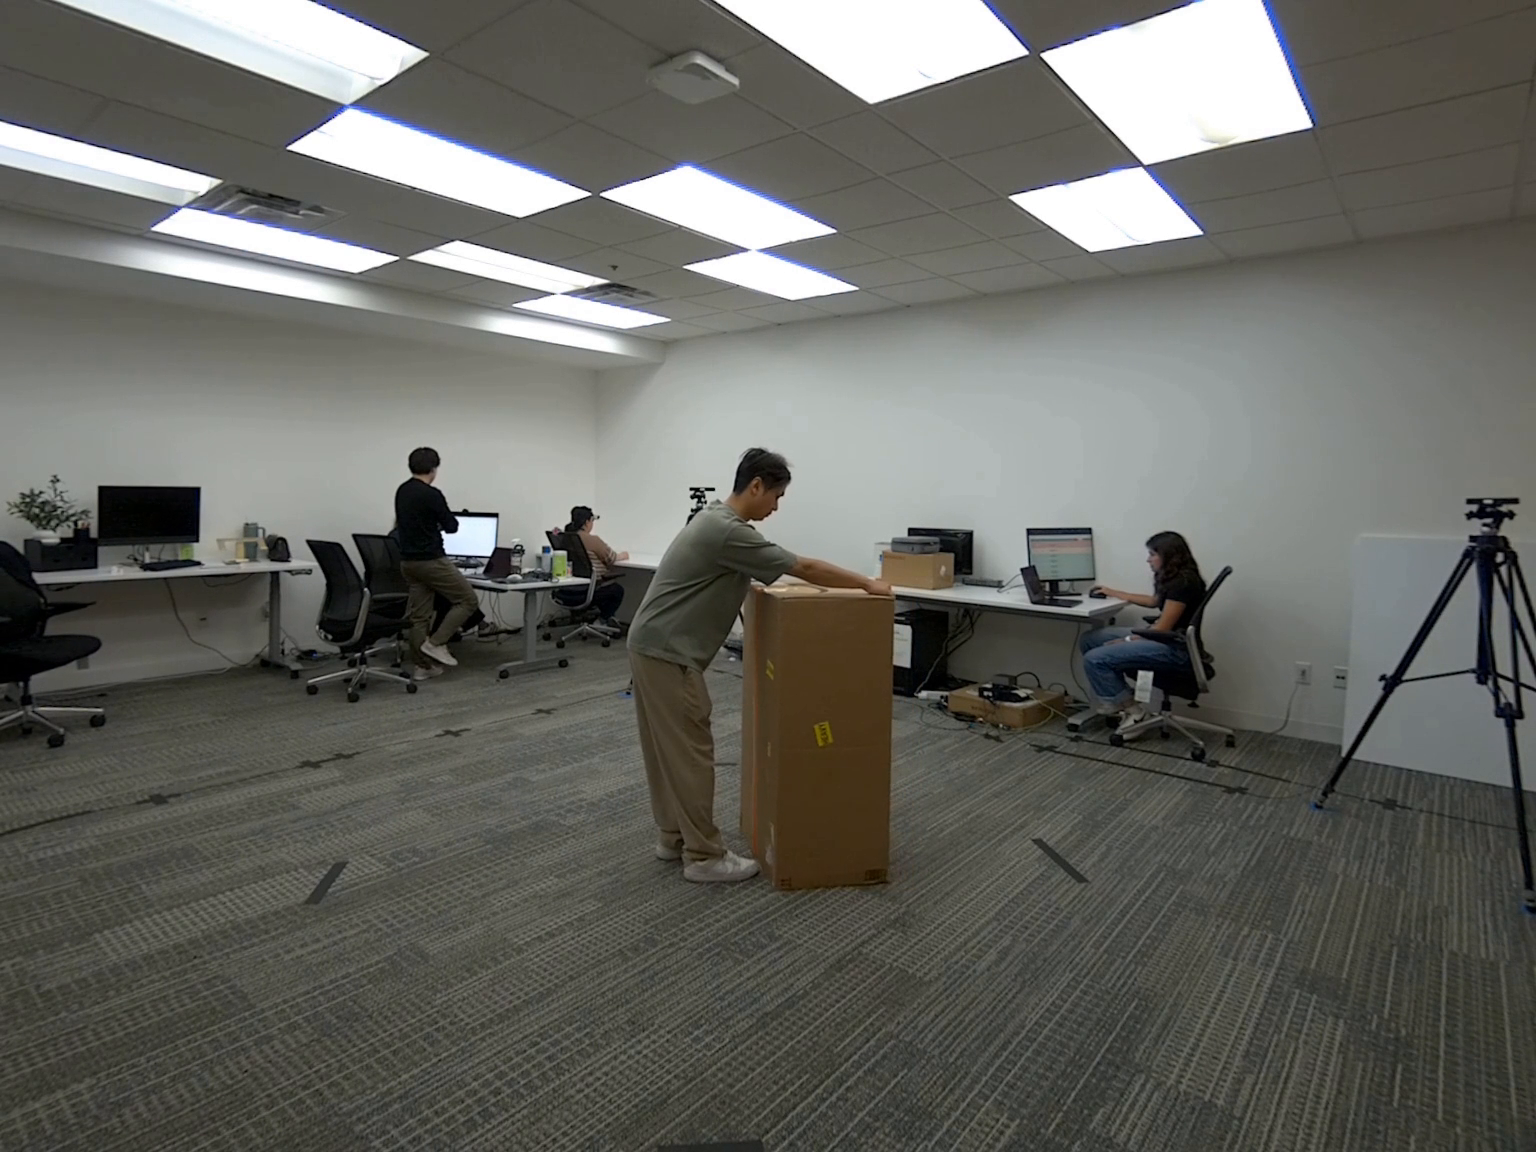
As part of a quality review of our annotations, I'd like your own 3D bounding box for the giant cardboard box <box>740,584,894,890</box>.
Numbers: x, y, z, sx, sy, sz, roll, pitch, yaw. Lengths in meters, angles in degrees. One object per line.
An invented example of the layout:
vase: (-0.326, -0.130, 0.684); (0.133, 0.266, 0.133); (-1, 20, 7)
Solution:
giant cardboard box: (0.158, 0.552, 3.235); (0.420, 1.023, 0.587); (0, 3, -13)
